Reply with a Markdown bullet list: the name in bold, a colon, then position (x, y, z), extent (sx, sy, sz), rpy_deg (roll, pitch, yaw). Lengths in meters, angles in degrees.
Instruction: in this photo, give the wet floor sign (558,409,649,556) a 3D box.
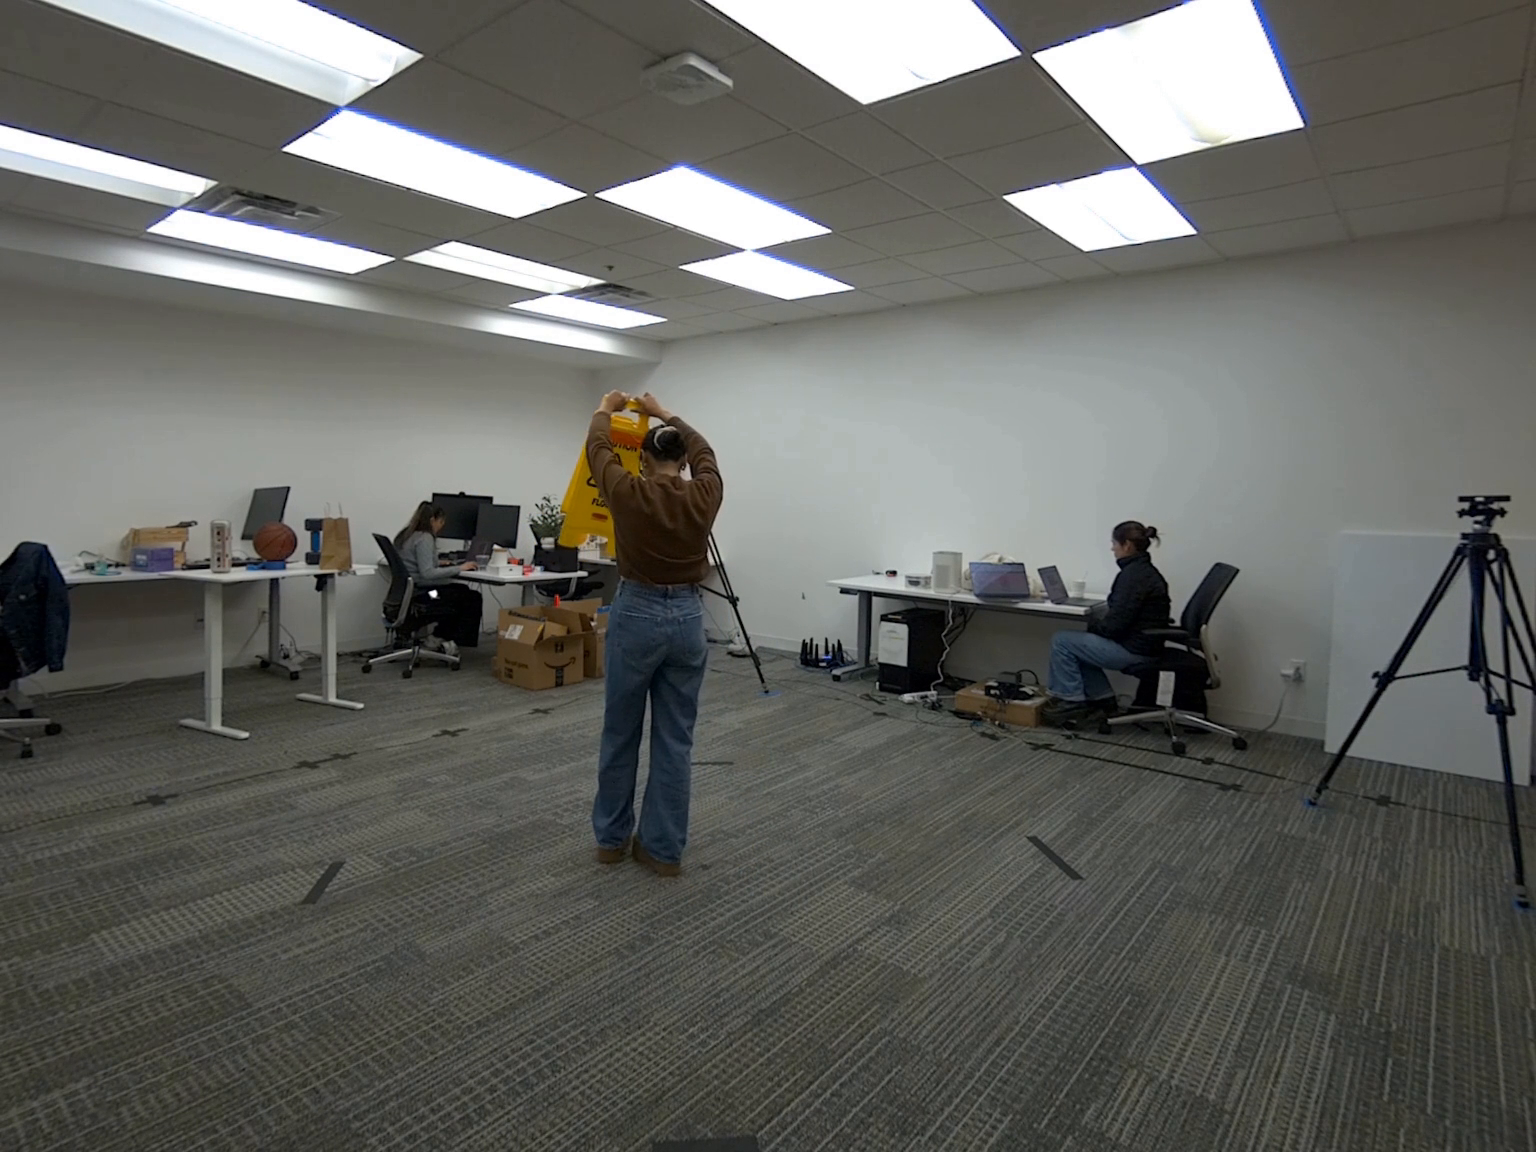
- **wet floor sign**: position (-0.668, -0.440, 3.507), extent (0.277, 0.638, 0.299), rpy_deg (13, 29, -17)
